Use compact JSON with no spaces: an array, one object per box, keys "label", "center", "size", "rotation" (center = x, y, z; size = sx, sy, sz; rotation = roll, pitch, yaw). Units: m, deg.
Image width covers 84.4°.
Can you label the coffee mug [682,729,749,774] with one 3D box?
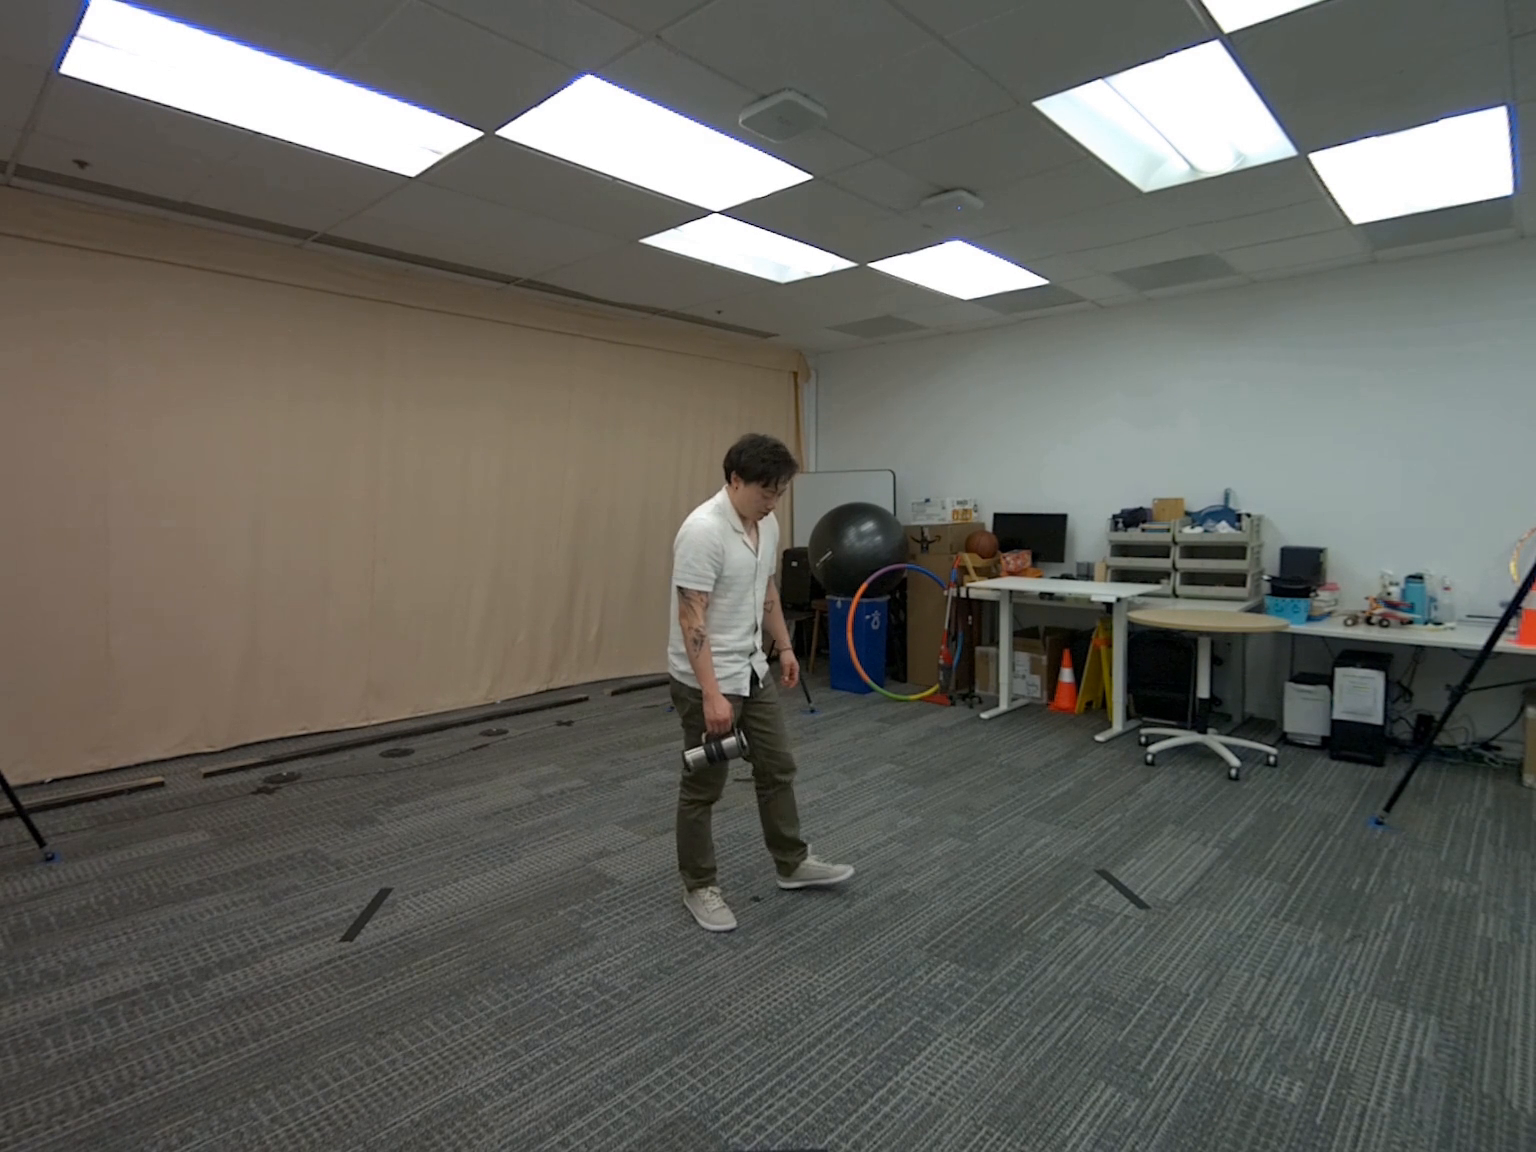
[{"label":"coffee mug","center":[-0.179,0.525,2.643],"size":[0.204,0.125,0.085],"rotation":[-17,-34,7]}]
